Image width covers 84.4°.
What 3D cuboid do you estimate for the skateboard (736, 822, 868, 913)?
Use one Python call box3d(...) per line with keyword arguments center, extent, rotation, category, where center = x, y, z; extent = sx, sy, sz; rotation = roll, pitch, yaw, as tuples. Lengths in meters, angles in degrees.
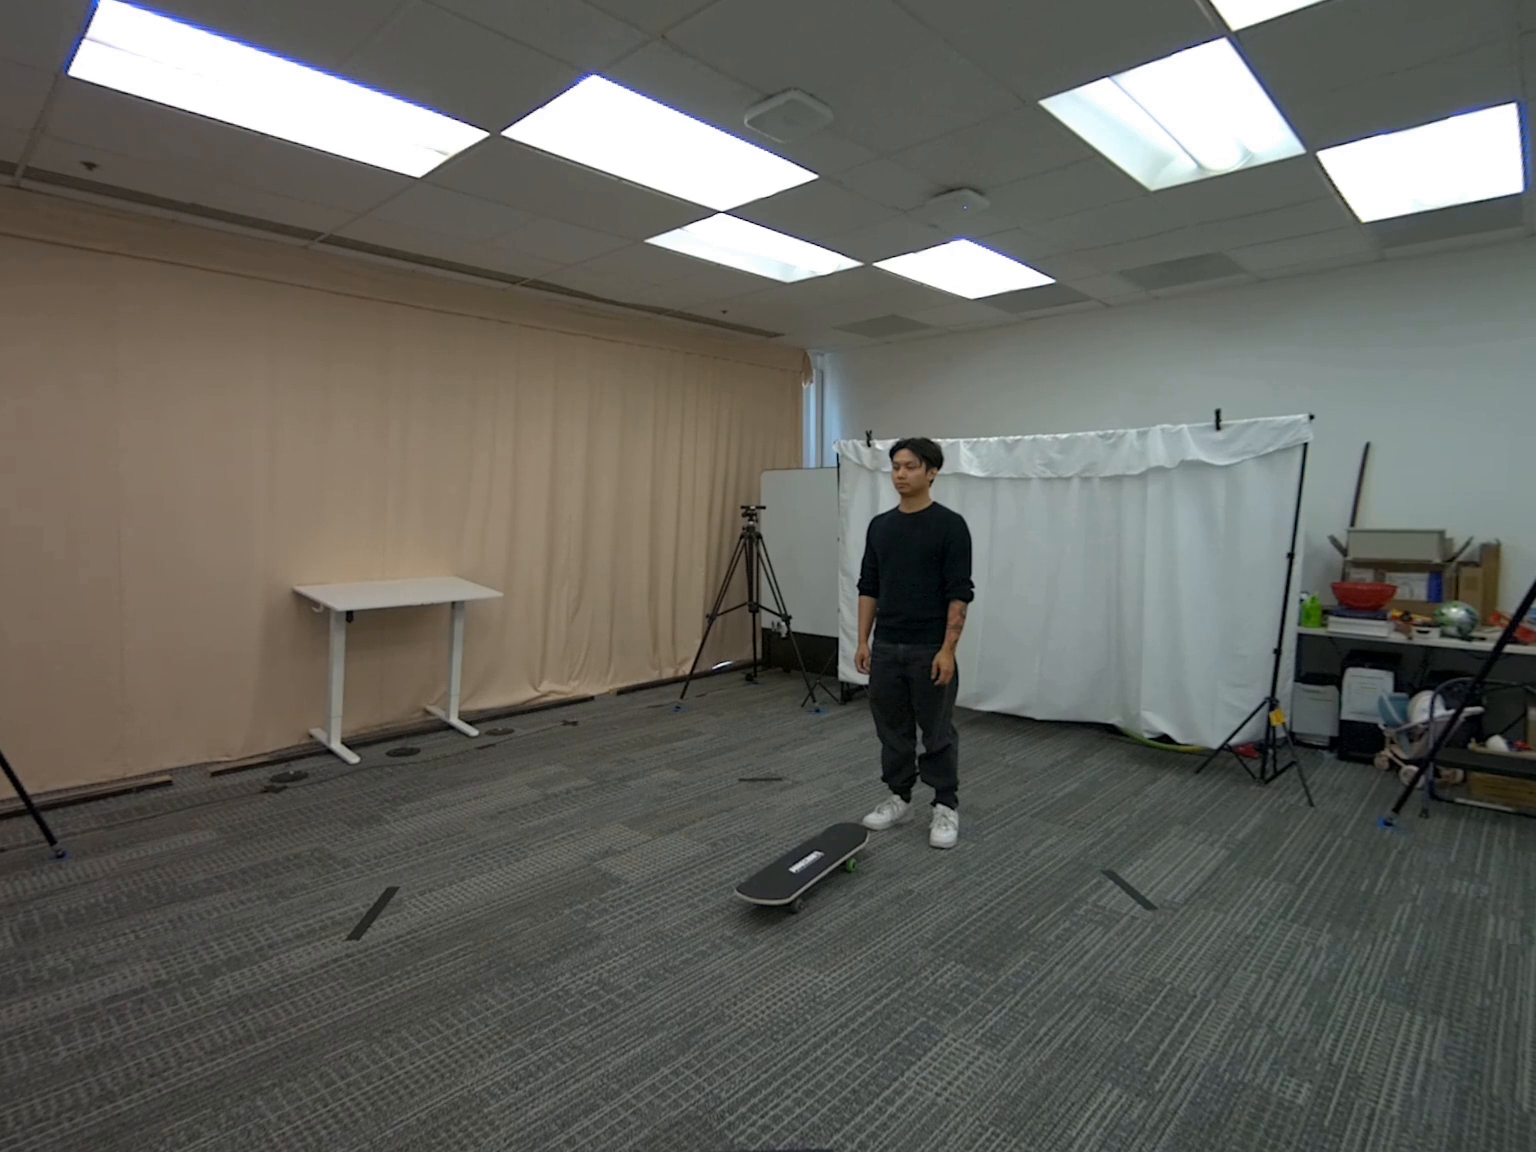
box3d(center=(0.149, 1.079, 3.083), extent=(0.199, 0.110, 0.763), rotation=(3, 6, 33), category="skateboard")
